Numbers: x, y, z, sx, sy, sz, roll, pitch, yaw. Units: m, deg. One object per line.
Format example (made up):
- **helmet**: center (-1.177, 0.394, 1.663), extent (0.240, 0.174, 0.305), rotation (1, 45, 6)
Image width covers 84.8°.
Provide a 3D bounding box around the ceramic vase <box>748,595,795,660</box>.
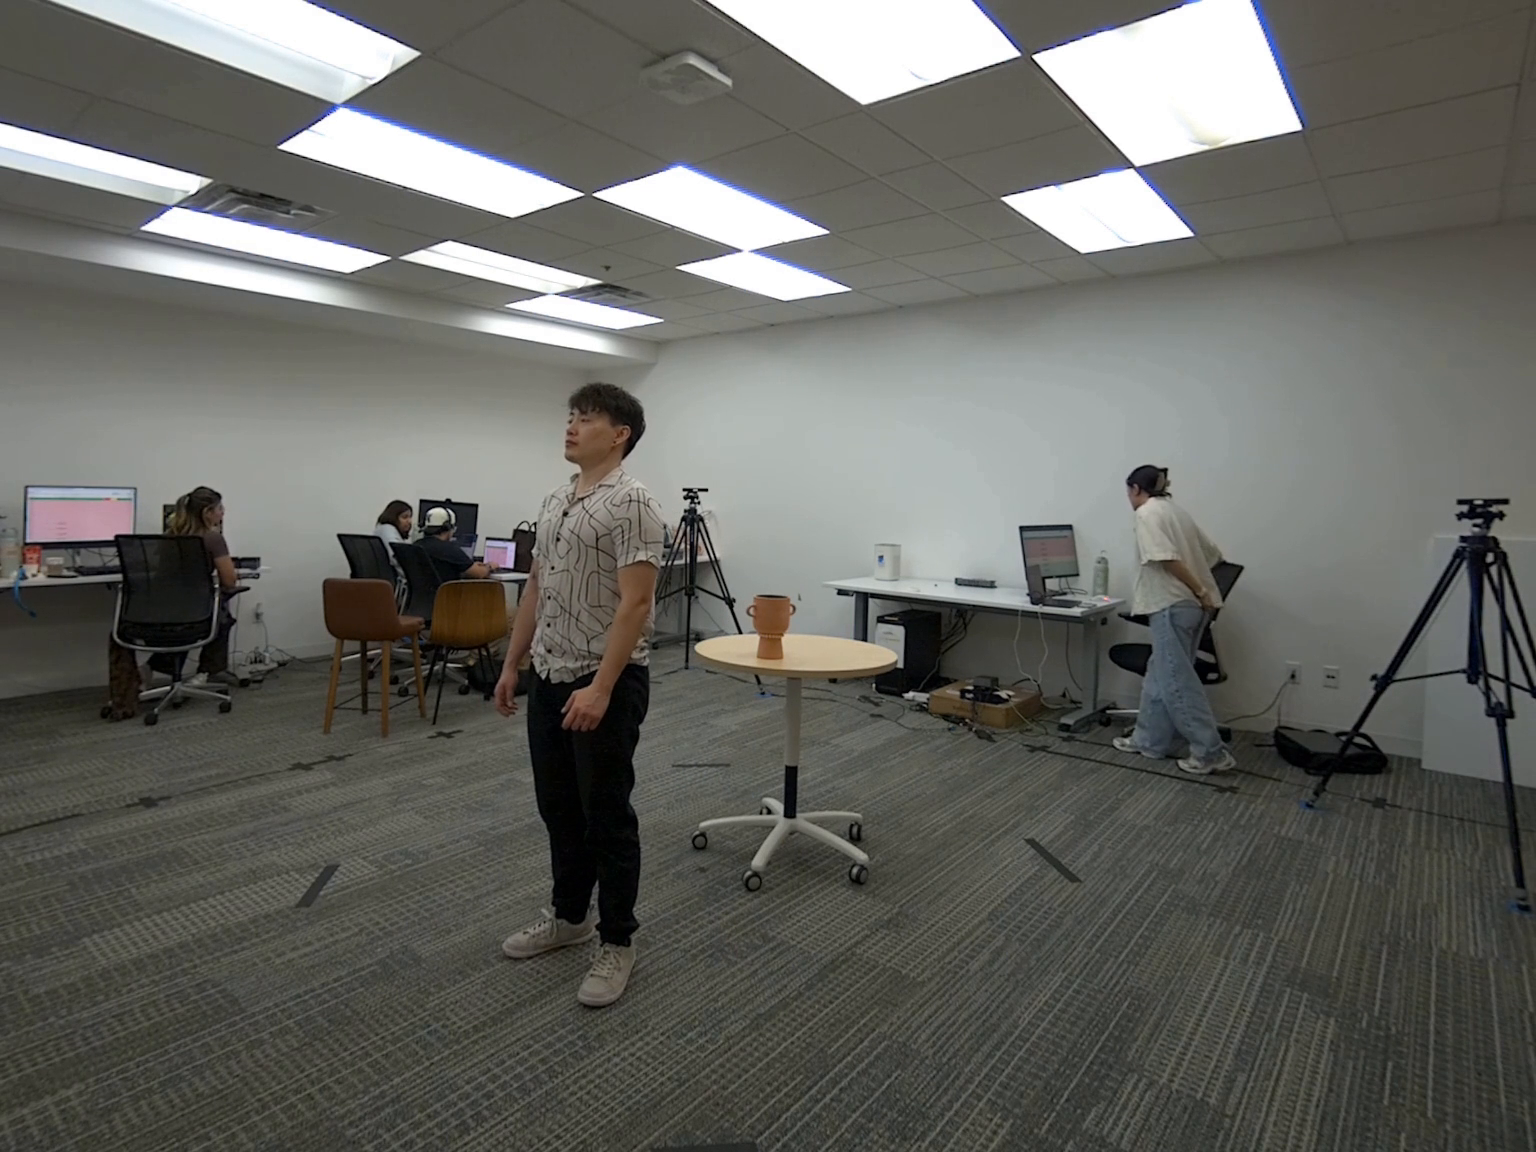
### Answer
- **ceramic vase**: center (0.005, 0.182, 3.075), extent (0.161, 0.219, 0.133), rotation (3, 3, 14)
